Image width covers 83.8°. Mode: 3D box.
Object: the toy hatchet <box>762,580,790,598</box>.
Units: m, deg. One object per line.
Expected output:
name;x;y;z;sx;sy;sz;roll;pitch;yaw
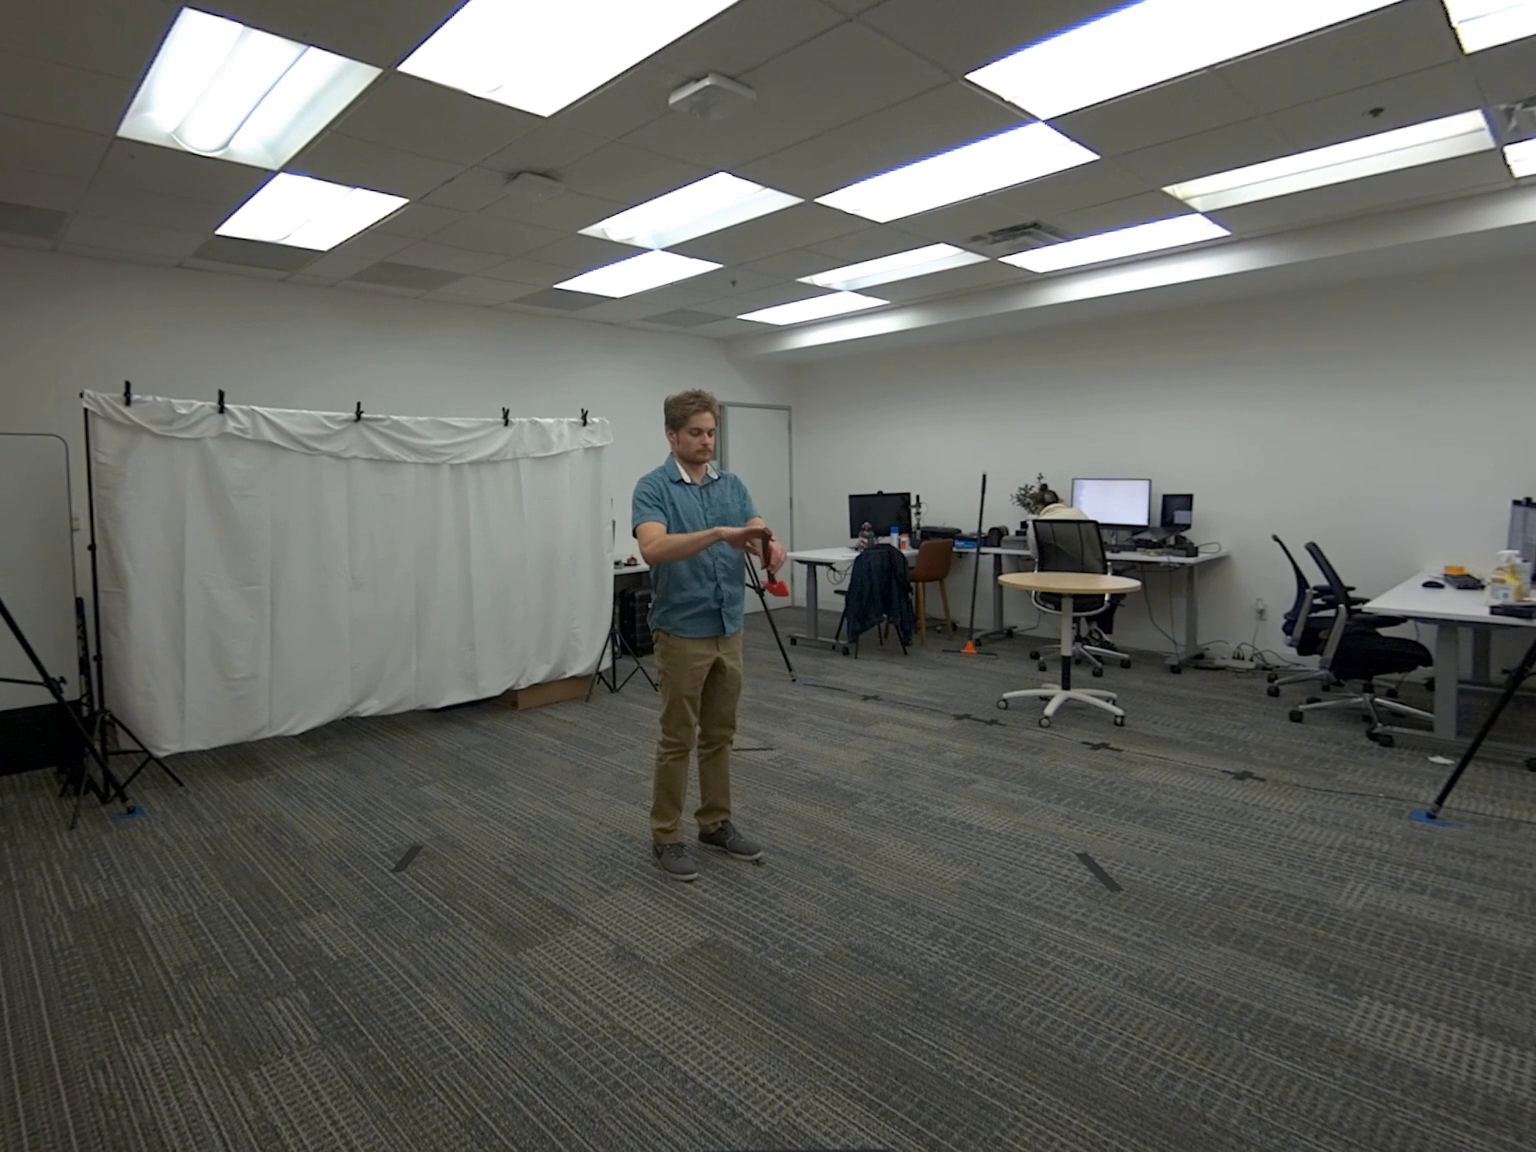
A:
toy hatchet;0.018;-0.027;2.733;0.029;0.262;0.136;-34;56;-25
